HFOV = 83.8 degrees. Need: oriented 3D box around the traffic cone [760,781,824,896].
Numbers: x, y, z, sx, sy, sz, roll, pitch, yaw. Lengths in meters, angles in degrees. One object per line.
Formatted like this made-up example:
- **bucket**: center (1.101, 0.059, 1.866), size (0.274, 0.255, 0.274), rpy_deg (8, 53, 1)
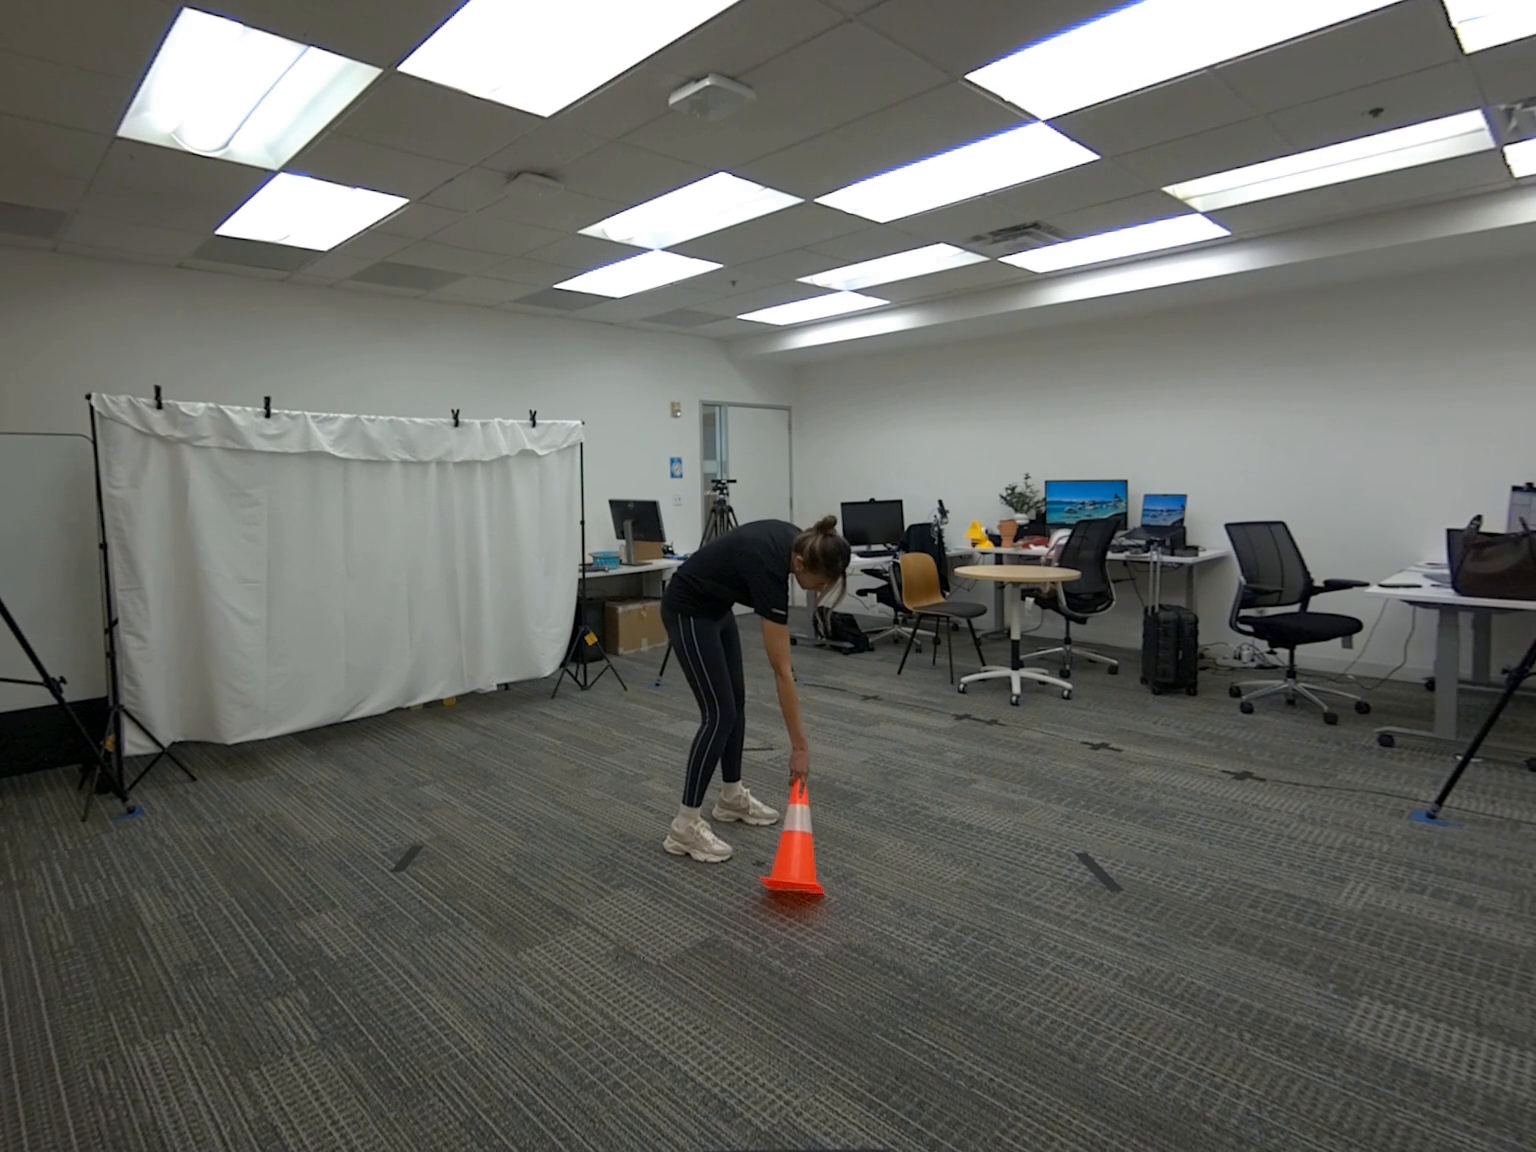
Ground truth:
- **traffic cone**: center (0.112, 0.861, 2.904), size (0.206, 0.391, 0.198), rpy_deg (0, -29, 13)
